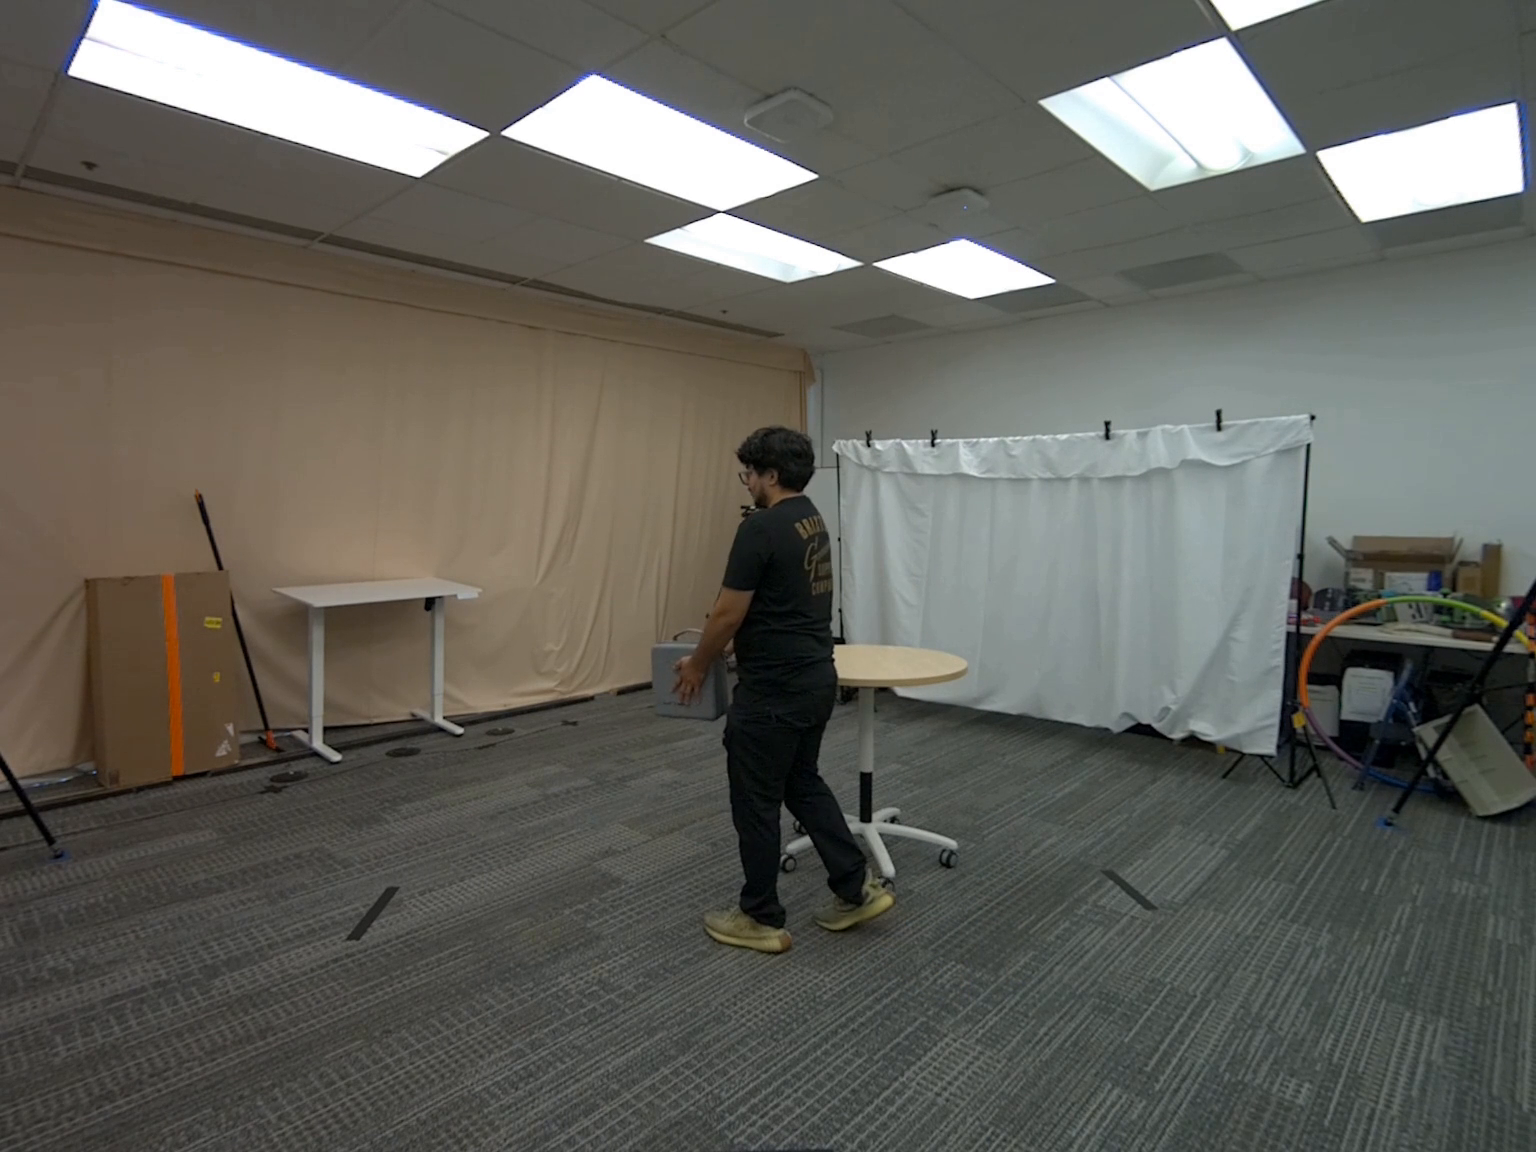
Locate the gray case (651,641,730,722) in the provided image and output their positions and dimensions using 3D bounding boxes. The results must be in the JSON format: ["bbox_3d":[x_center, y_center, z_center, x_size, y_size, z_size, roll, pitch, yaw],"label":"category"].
[{"bbox_3d":[-0.264,0.347,2.834,0.263,0.260,0.102,-1,1,27],"label":"gray case"}]
